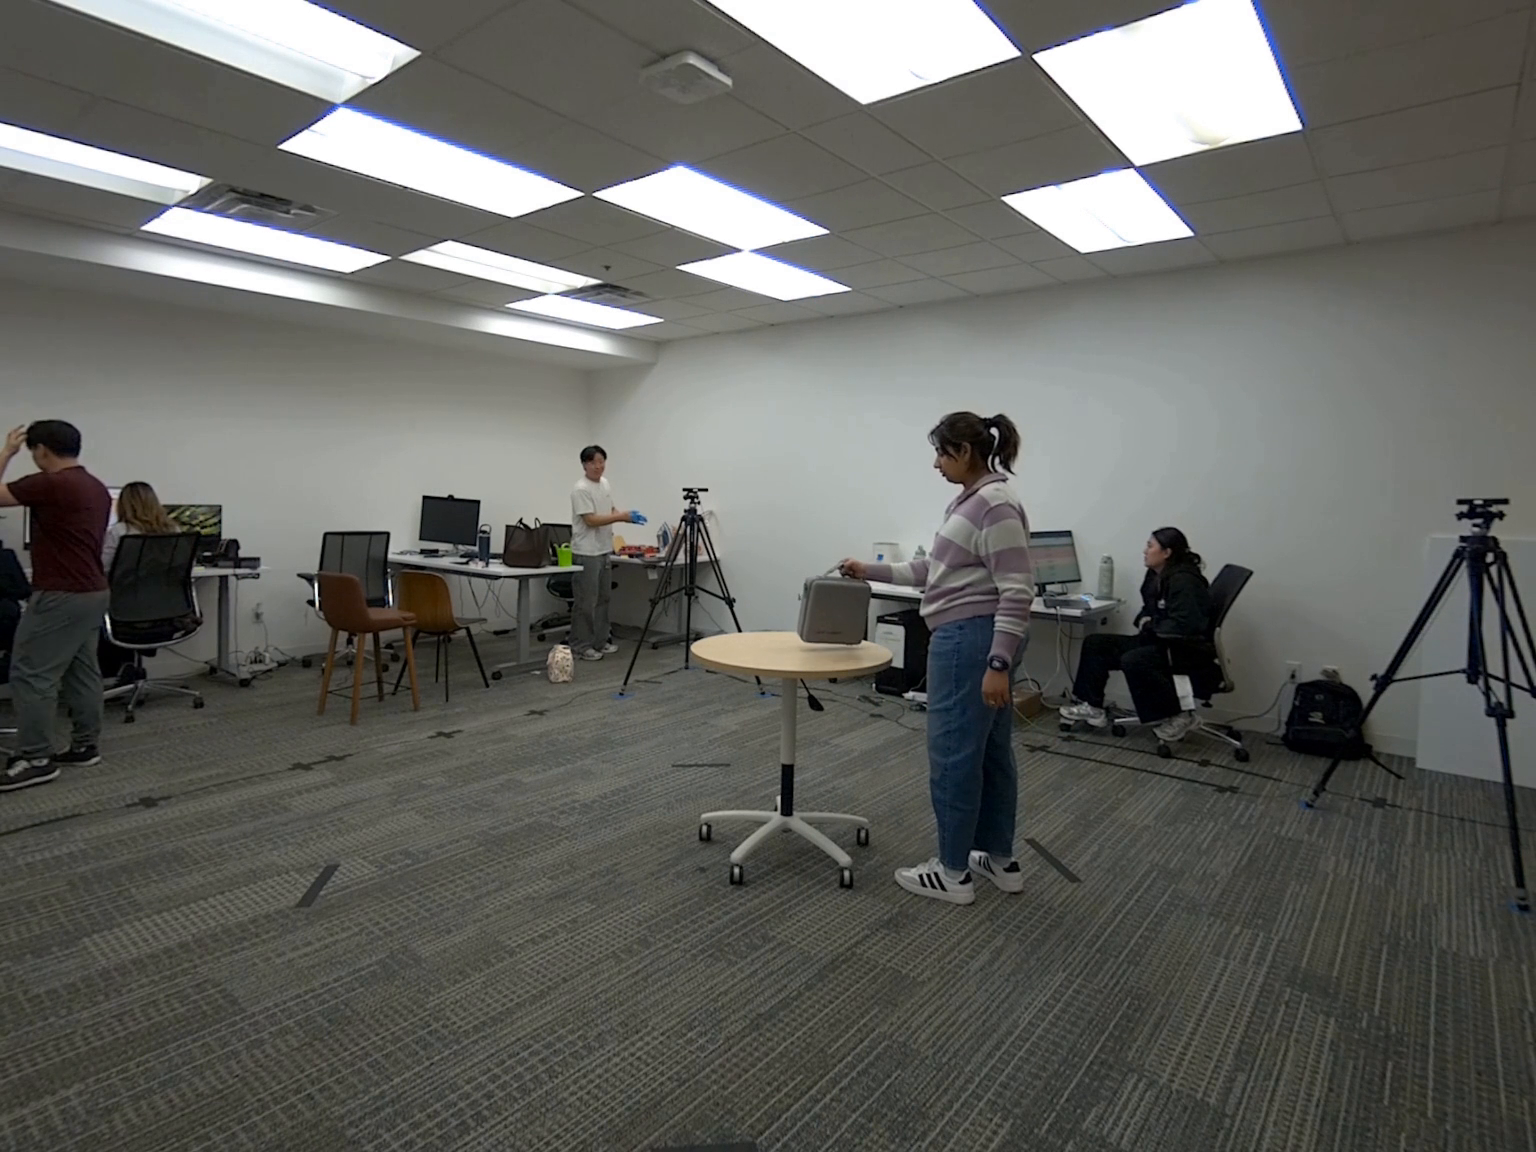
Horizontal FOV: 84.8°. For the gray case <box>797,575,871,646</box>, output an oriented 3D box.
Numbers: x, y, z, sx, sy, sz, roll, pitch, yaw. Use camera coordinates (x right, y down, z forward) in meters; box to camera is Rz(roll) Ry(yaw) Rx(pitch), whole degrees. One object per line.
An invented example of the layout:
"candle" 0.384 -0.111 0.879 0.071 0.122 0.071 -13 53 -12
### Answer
"gray case" 0.255 0.125 3.248 0.252 0.258 0.107 5 11 -18
